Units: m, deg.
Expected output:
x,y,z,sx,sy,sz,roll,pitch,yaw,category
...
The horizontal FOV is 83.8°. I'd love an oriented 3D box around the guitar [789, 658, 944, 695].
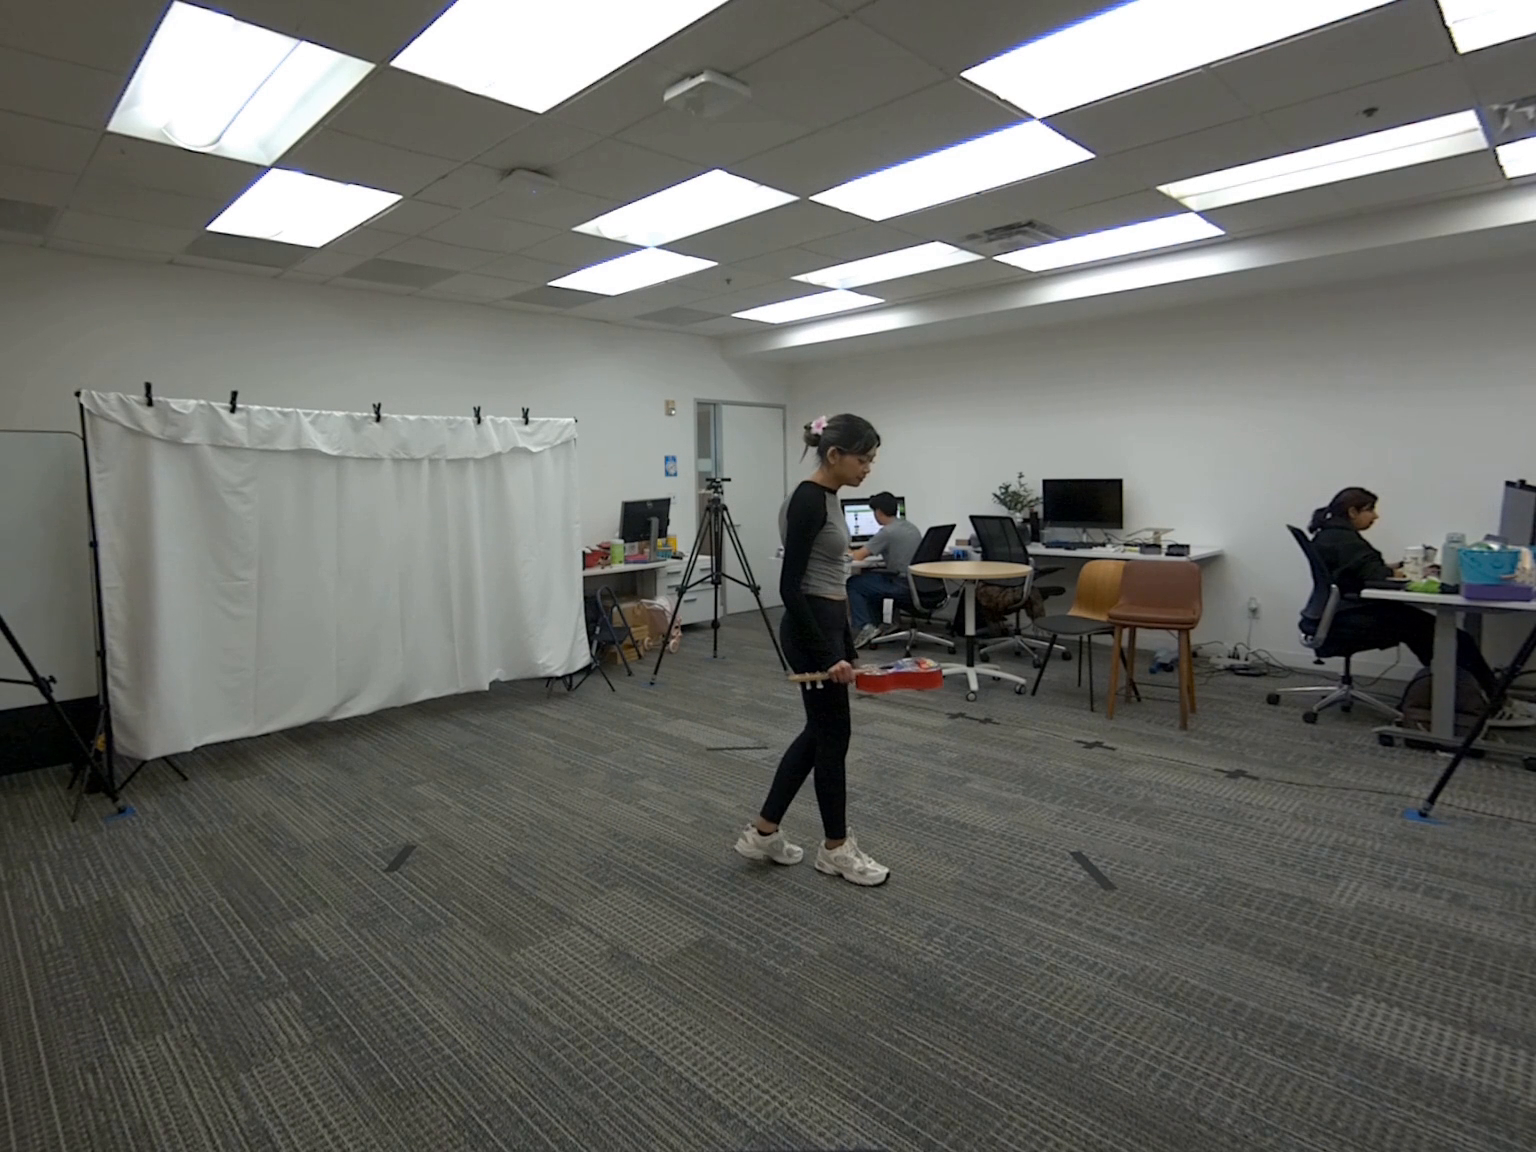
x,y,z,sx,sy,sz,roll,pitch,yaw,category
0.310,0.323,2.800,0.499,0.070,0.193,-4,7,2,guitar
